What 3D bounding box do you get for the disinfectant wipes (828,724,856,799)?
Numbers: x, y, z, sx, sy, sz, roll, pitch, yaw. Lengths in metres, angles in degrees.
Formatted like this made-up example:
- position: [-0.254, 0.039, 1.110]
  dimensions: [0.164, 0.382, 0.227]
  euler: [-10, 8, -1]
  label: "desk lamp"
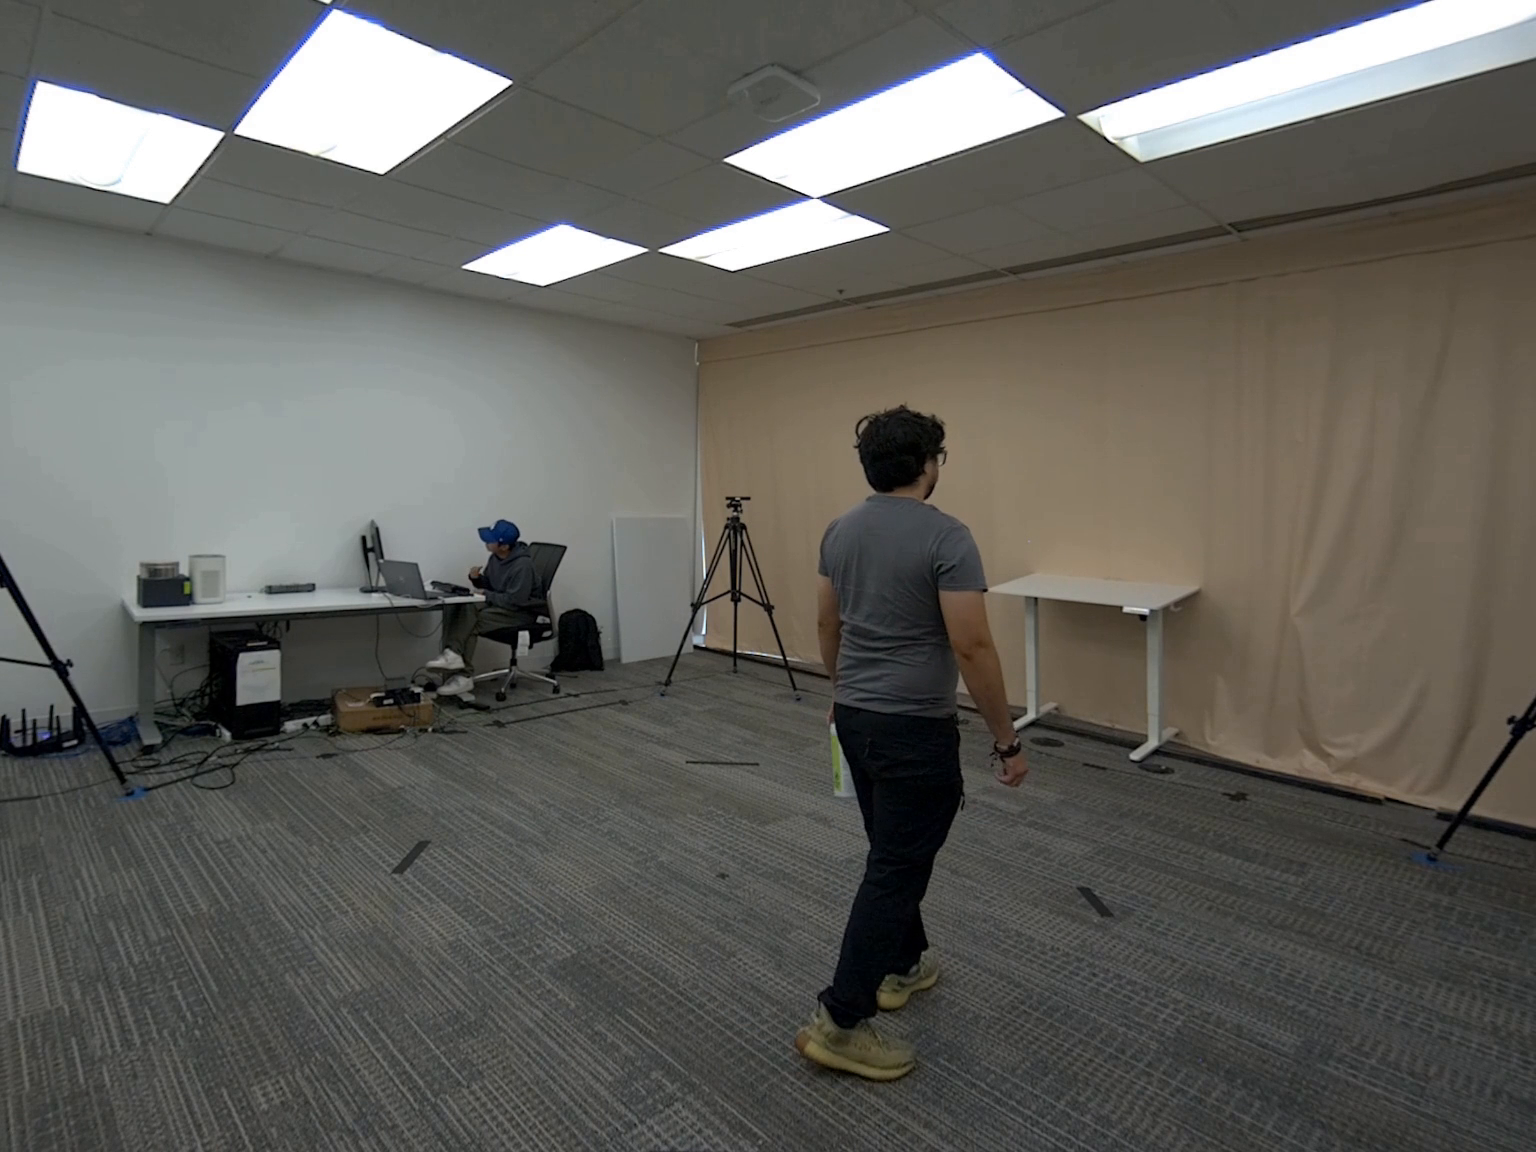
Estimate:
- position: [0.243, 0.555, 2.524]
  dimensions: [0.118, 0.218, 0.117]
  euler: [-2, -5, -2]
  label: "disinfectant wipes"
